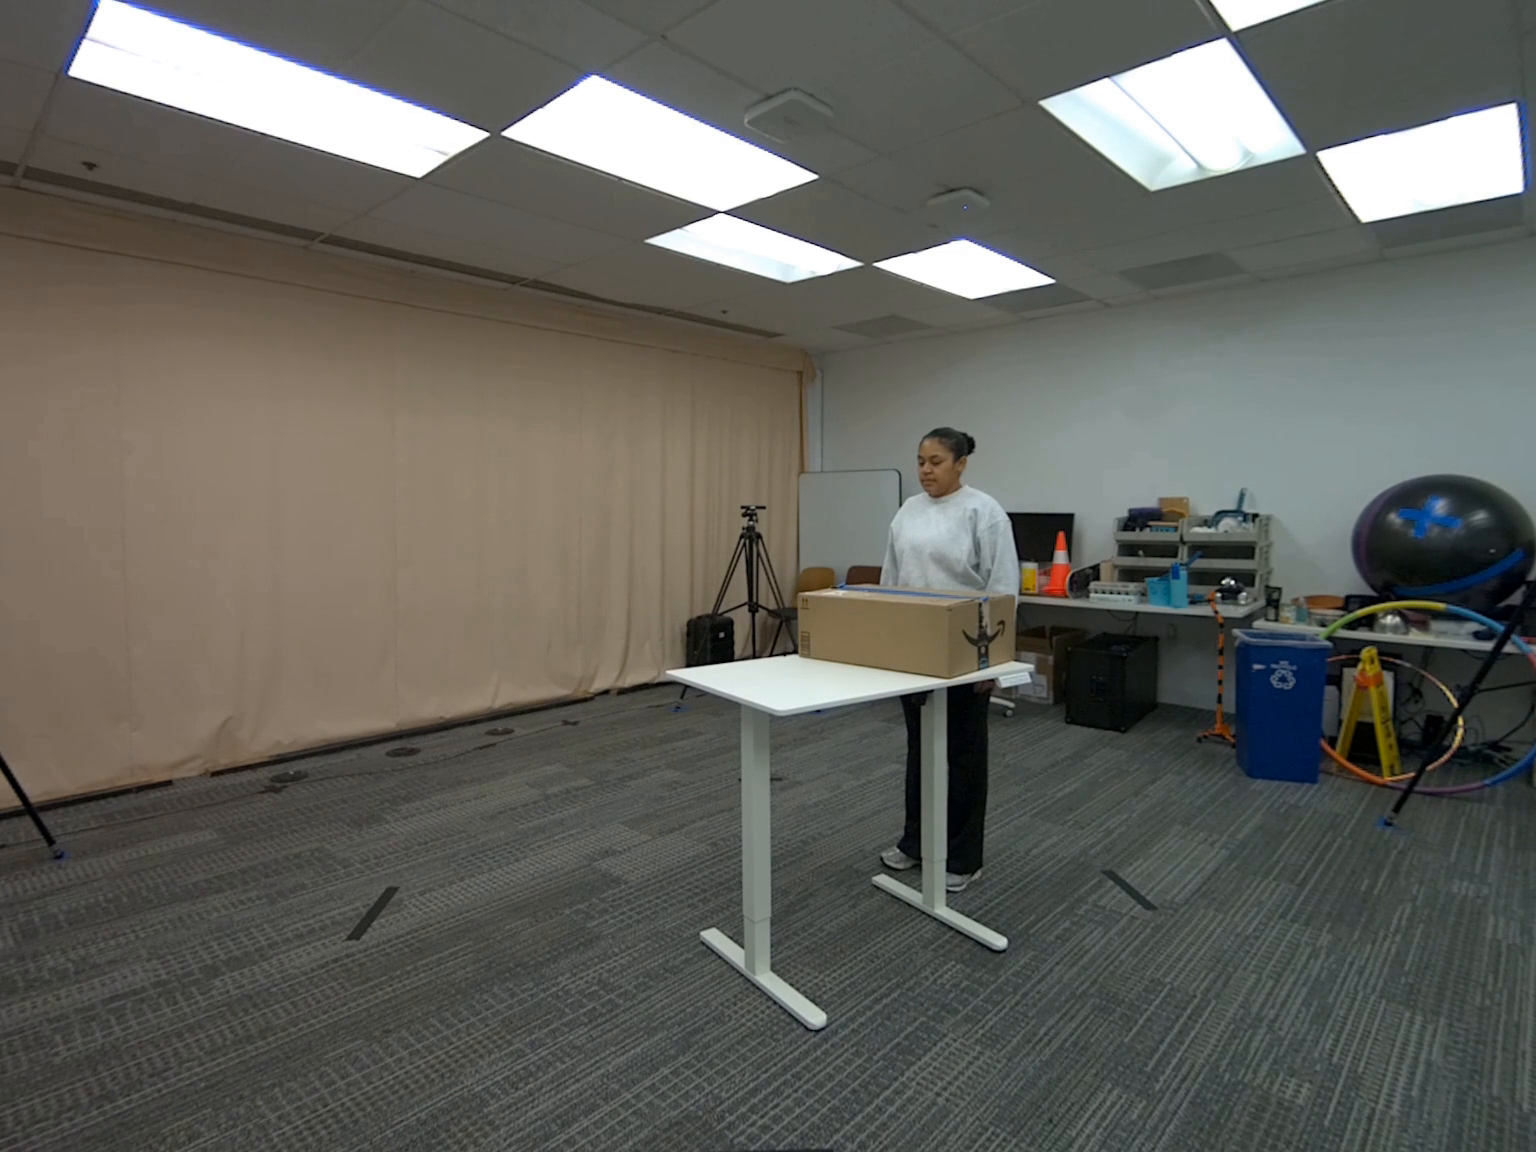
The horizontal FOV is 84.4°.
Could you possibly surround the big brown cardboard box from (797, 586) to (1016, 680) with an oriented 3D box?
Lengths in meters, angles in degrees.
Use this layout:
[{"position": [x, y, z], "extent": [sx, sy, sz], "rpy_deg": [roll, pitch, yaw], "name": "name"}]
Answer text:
[{"position": [0.452, 0.167, 2.788], "extent": [0.609, 0.232, 0.405], "rpy_deg": [5, 7, 43], "name": "big brown cardboard box"}]
